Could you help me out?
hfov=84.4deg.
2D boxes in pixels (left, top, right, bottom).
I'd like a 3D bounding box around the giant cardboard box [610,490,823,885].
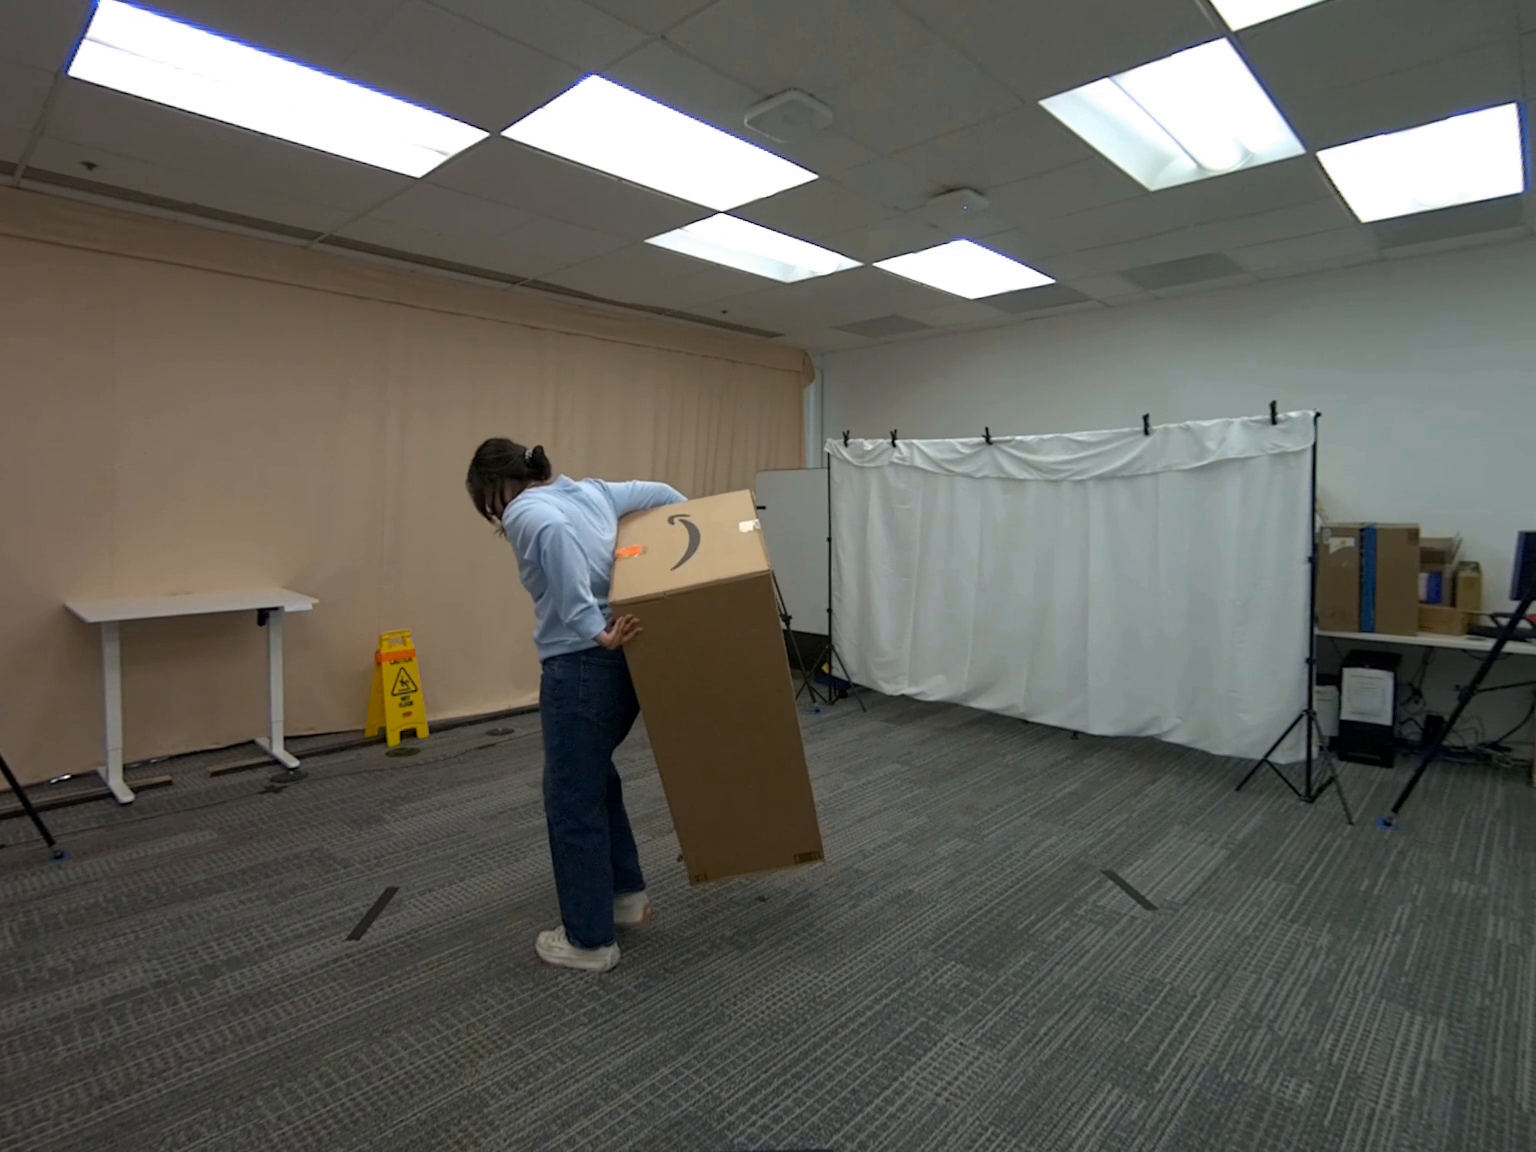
[{"bbox_3d":[-0.139,0.343,2.603,0.426,1.006,0.588,-12,26,-1],"label":"giant cardboard box"}]
